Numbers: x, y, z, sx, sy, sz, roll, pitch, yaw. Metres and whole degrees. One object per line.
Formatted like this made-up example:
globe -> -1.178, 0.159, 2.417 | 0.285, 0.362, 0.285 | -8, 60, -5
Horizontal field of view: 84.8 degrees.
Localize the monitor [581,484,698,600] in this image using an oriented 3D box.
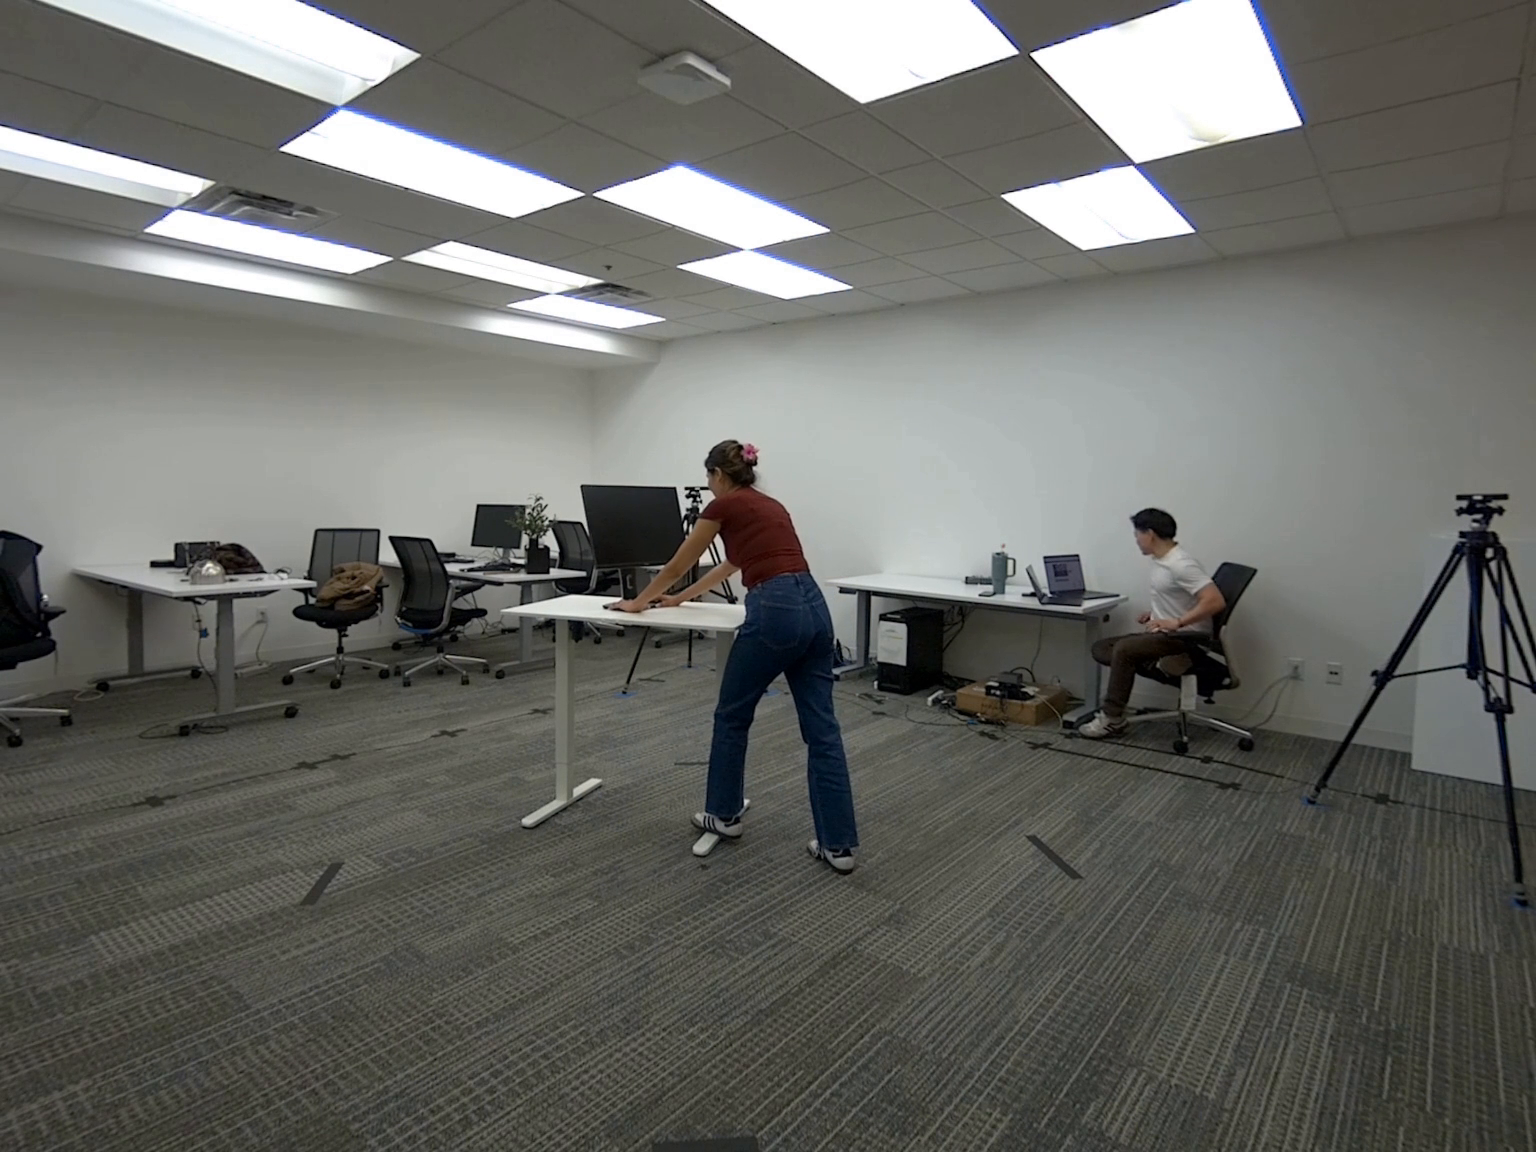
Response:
monitor -> -0.585, -0.126, 3.623 | 0.193, 0.521, 0.524 | 1, 4, 35
